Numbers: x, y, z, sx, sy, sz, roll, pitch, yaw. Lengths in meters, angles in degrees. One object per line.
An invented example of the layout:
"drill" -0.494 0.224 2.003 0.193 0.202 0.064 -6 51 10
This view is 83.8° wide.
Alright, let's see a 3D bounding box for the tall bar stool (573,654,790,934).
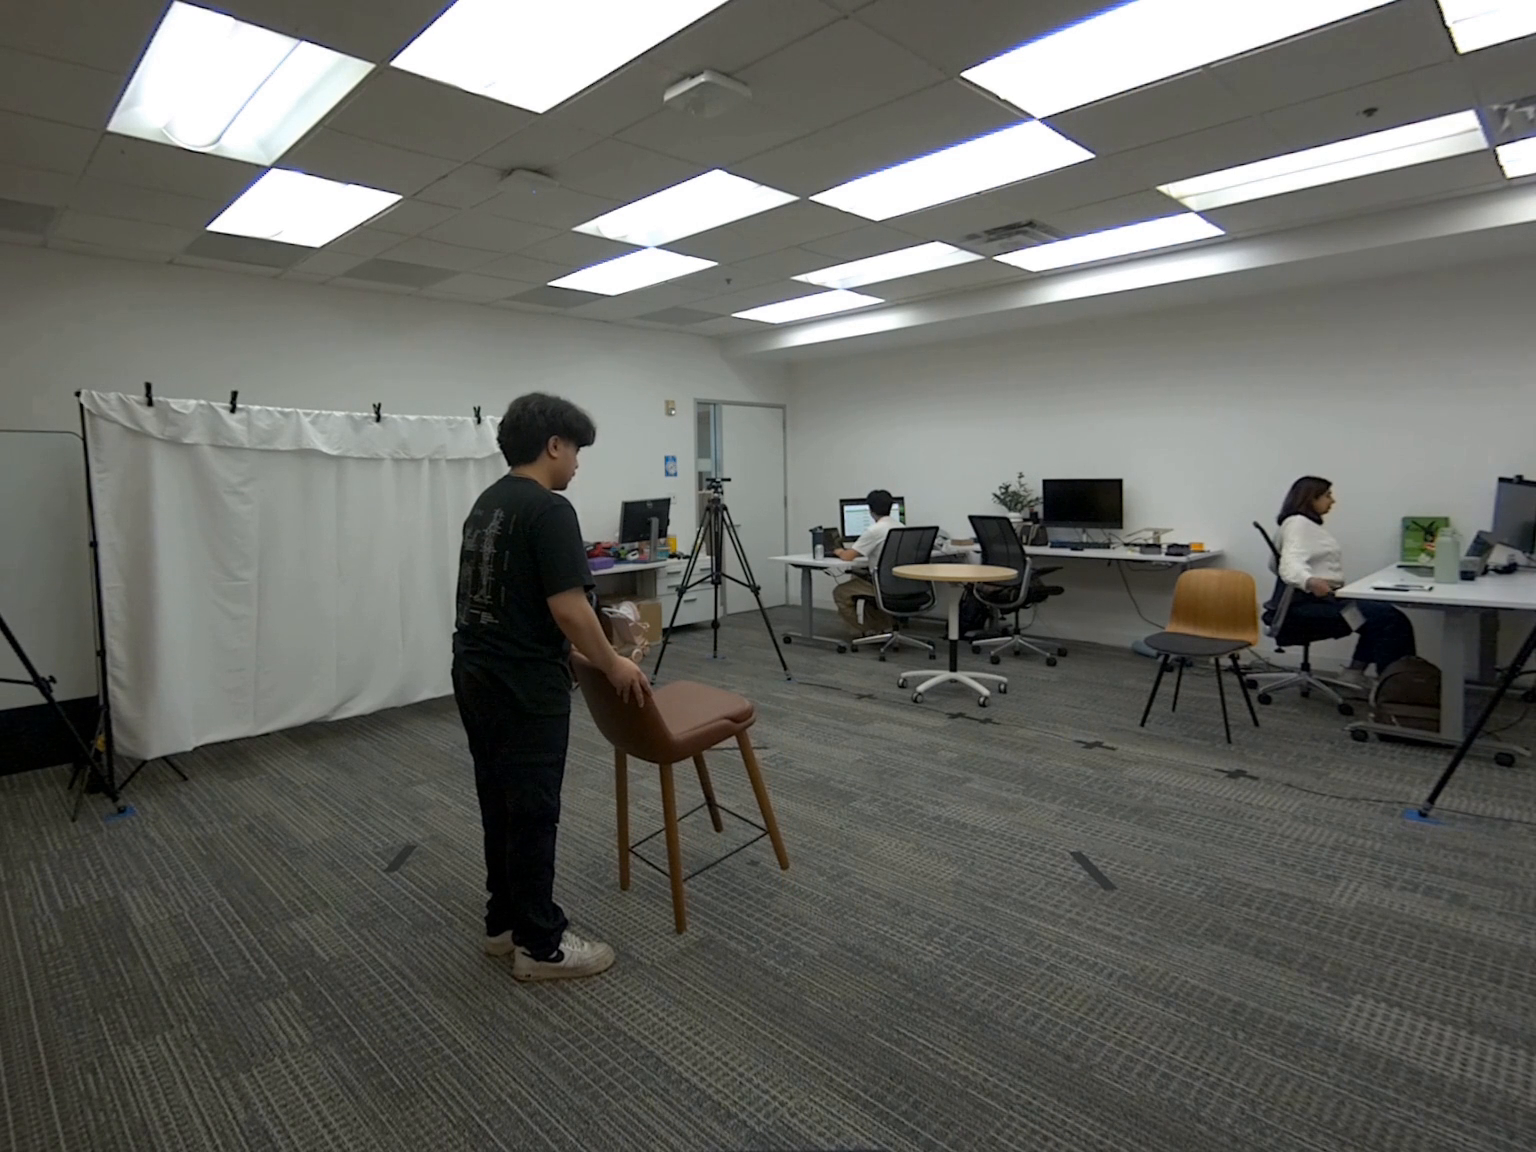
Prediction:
"tall bar stool" -0.298 0.611 2.823 0.459 0.878 0.470 -20 15 -35
